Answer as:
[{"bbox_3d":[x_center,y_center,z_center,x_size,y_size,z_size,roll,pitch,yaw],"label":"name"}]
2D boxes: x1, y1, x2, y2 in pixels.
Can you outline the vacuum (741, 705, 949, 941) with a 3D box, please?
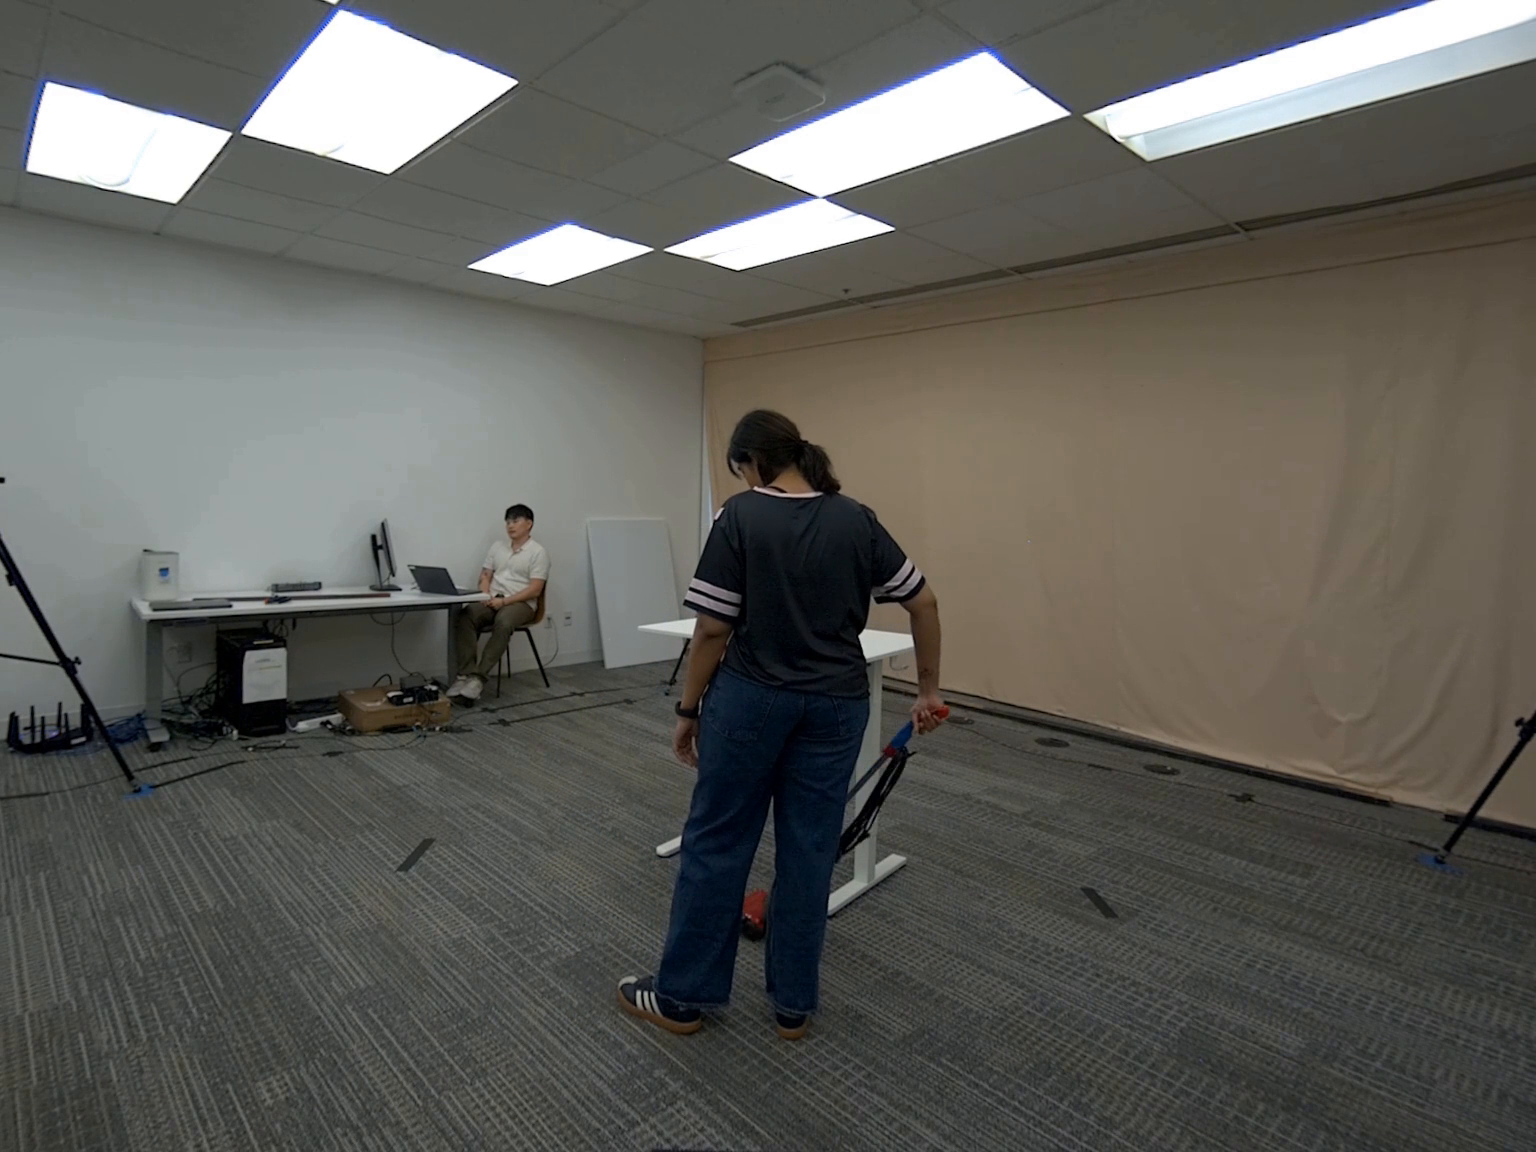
[{"bbox_3d":[0.210,0.751,2.483,0.147,1.045,0.248,49,34,20],"label":"vacuum"}]
